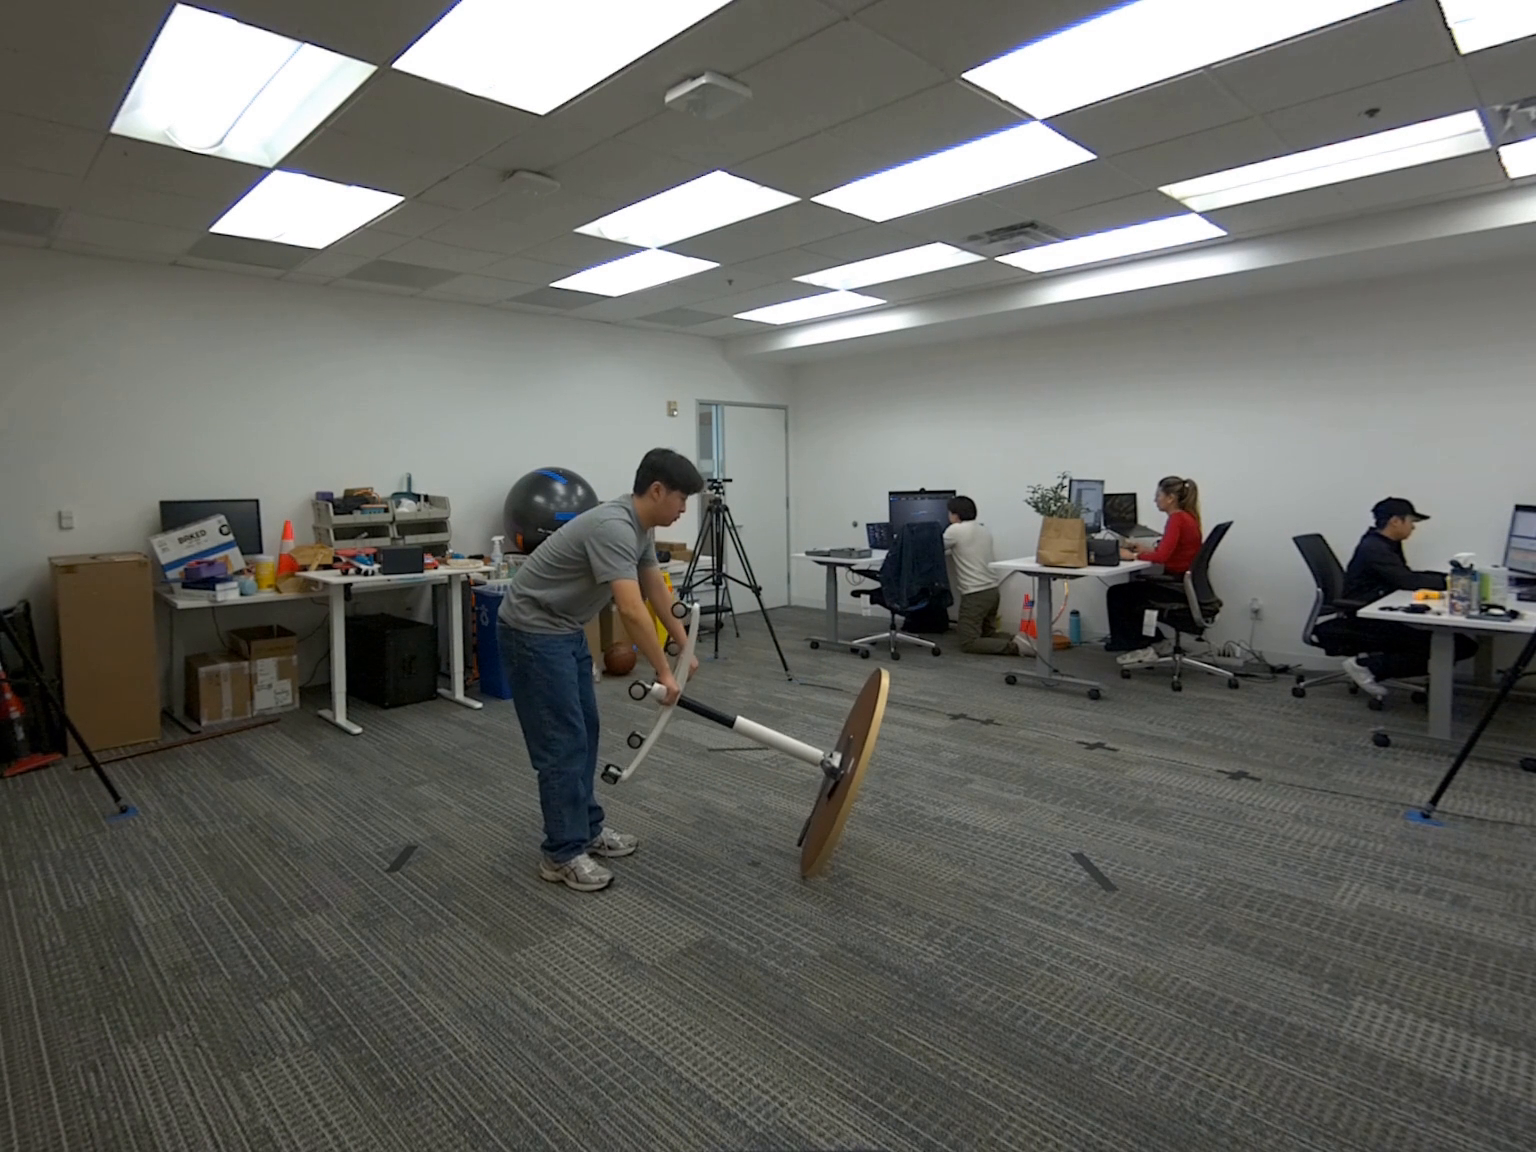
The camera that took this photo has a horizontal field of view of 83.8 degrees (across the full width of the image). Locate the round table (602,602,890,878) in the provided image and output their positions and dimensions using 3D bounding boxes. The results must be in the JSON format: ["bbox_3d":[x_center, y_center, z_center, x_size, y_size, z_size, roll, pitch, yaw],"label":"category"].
[{"bbox_3d":[-0.083,0.545,3.074,0.799,0.761,0.762,21,7,4],"label":"round table"}]
